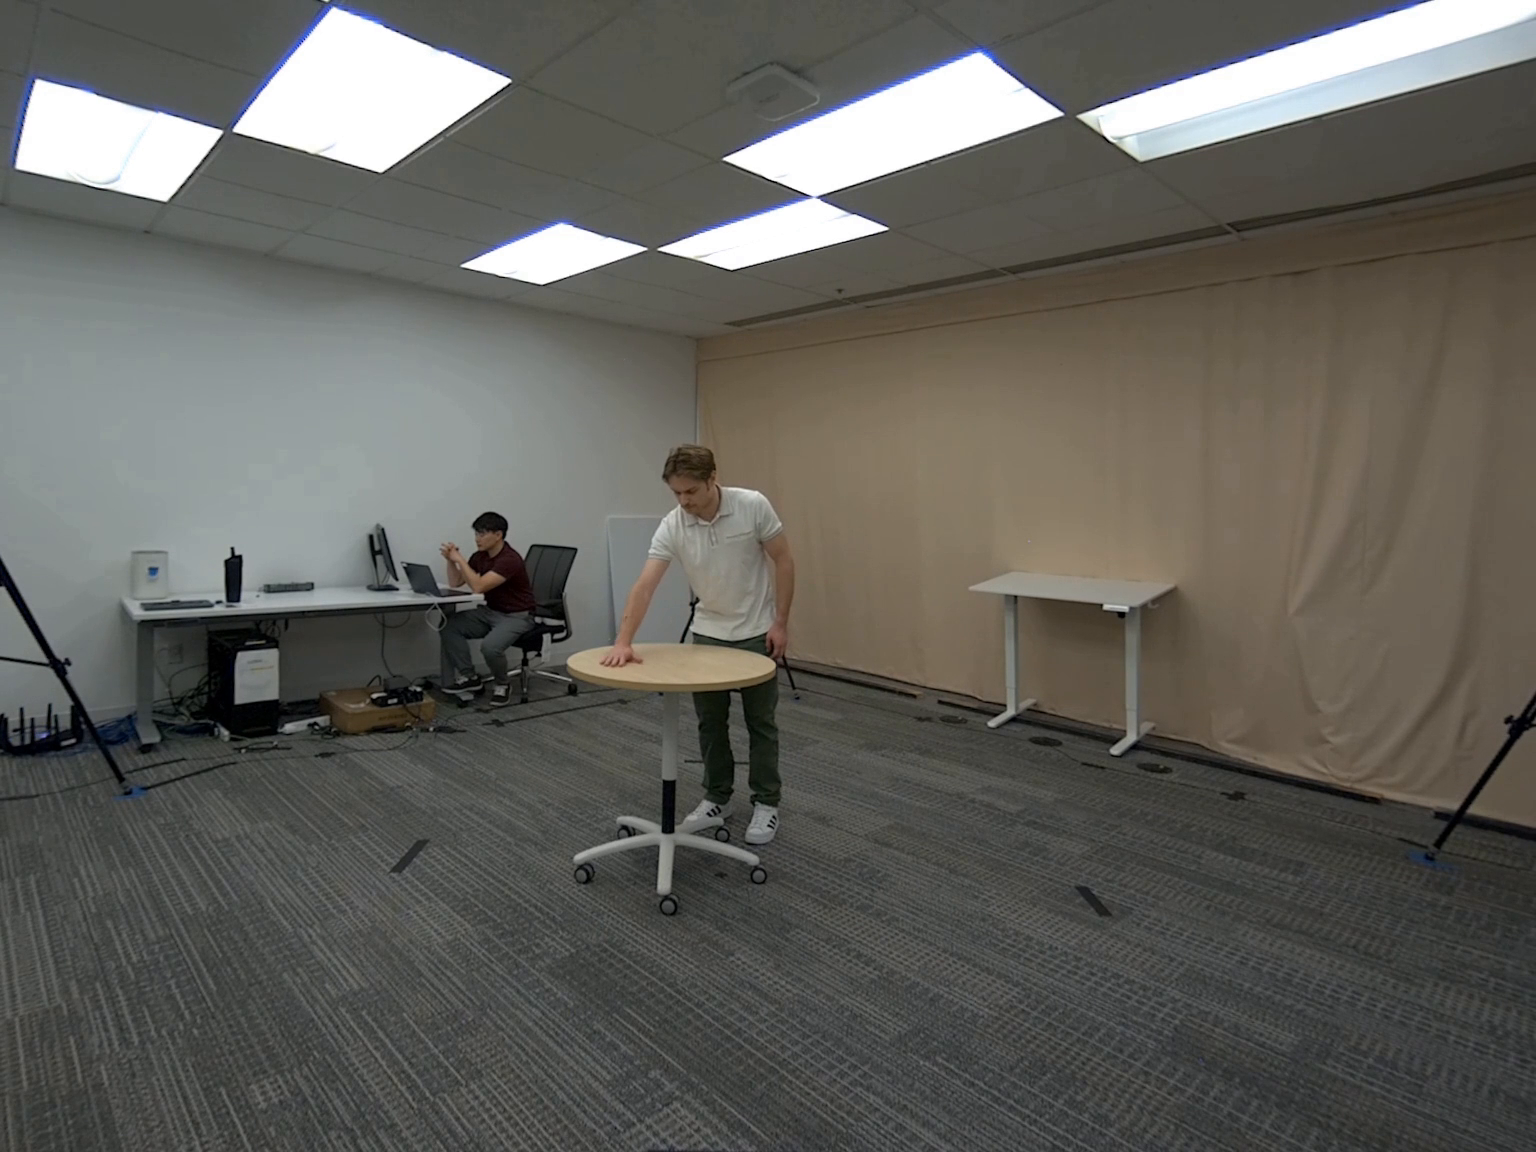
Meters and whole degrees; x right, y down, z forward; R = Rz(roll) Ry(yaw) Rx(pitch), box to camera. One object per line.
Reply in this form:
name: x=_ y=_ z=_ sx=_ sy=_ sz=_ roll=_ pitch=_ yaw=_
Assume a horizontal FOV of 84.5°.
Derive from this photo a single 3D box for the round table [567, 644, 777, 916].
round table: x=-0.386 y=0.703 z=3.120 sx=0.784 sy=0.785 sz=0.787 roll=2 pitch=4 yaw=-1
